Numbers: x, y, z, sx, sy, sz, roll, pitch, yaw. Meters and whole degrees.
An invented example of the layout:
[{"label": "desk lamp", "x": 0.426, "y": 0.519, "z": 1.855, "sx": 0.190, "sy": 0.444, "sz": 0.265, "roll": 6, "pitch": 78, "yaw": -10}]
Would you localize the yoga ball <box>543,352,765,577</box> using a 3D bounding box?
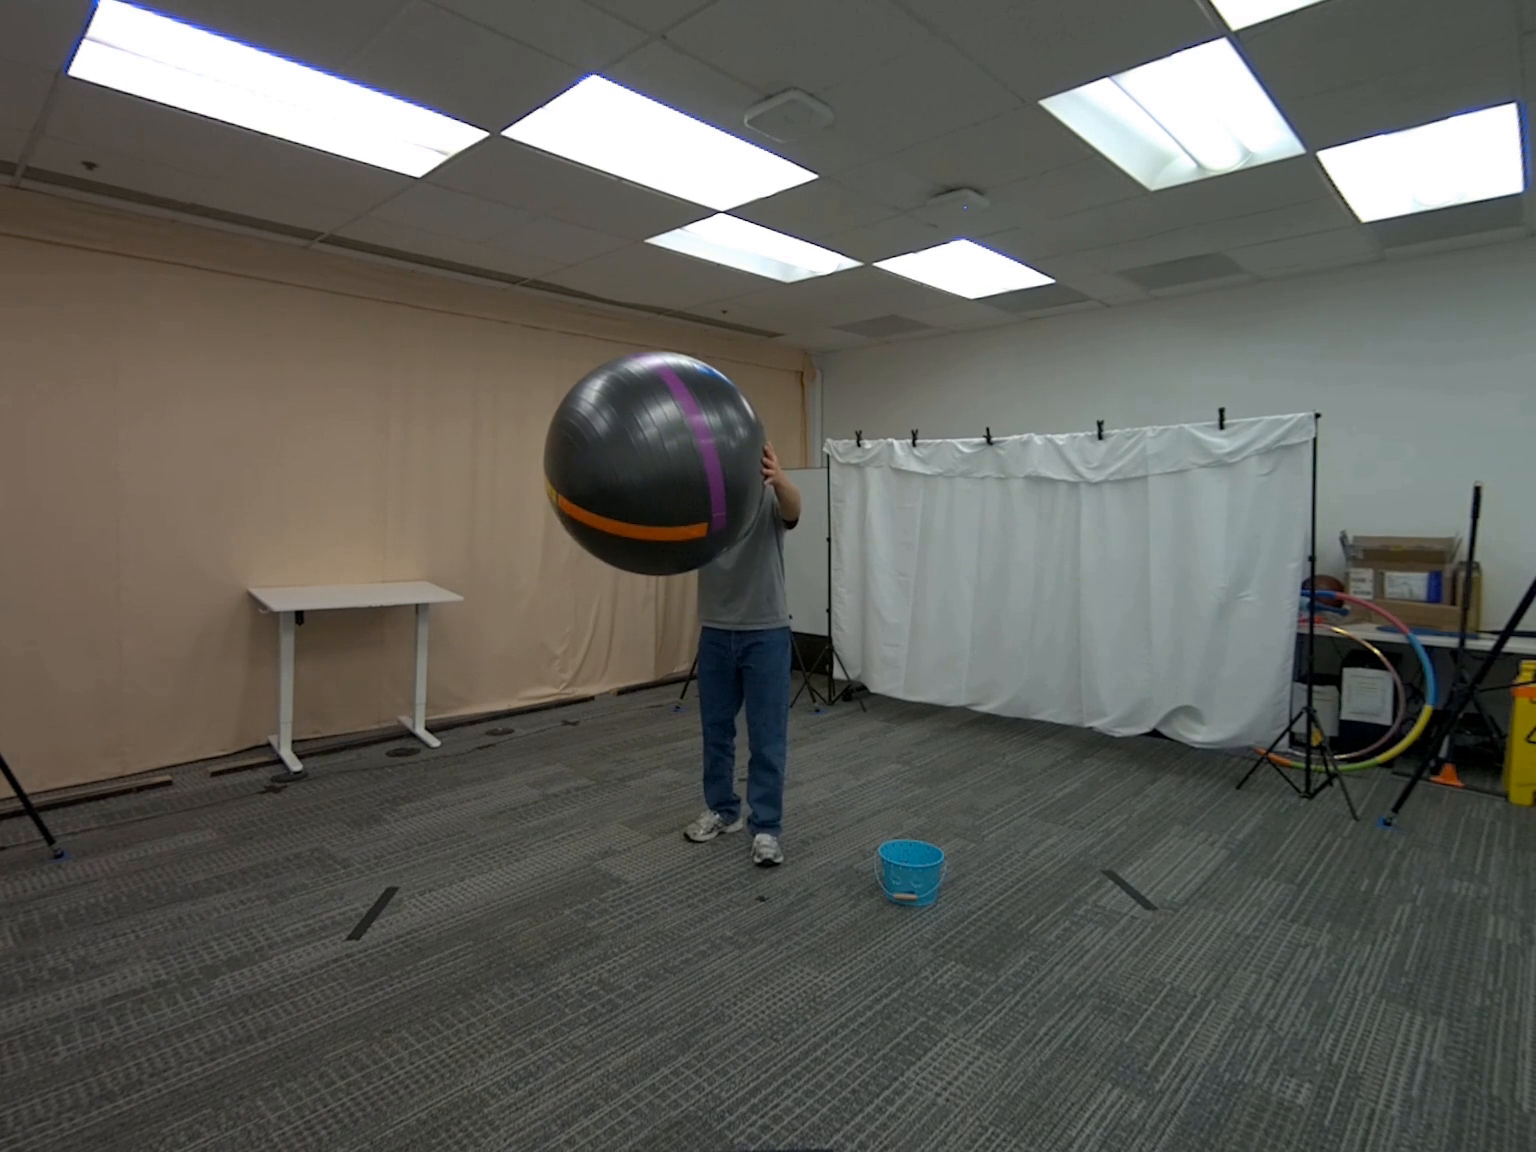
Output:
[{"label": "yoga ball", "x": -0.379, "y": -0.354, "z": 2.867, "sx": 0.757, "sy": 0.756, "sz": 0.760, "roll": 0, "pitch": 4, "yaw": -2}]
